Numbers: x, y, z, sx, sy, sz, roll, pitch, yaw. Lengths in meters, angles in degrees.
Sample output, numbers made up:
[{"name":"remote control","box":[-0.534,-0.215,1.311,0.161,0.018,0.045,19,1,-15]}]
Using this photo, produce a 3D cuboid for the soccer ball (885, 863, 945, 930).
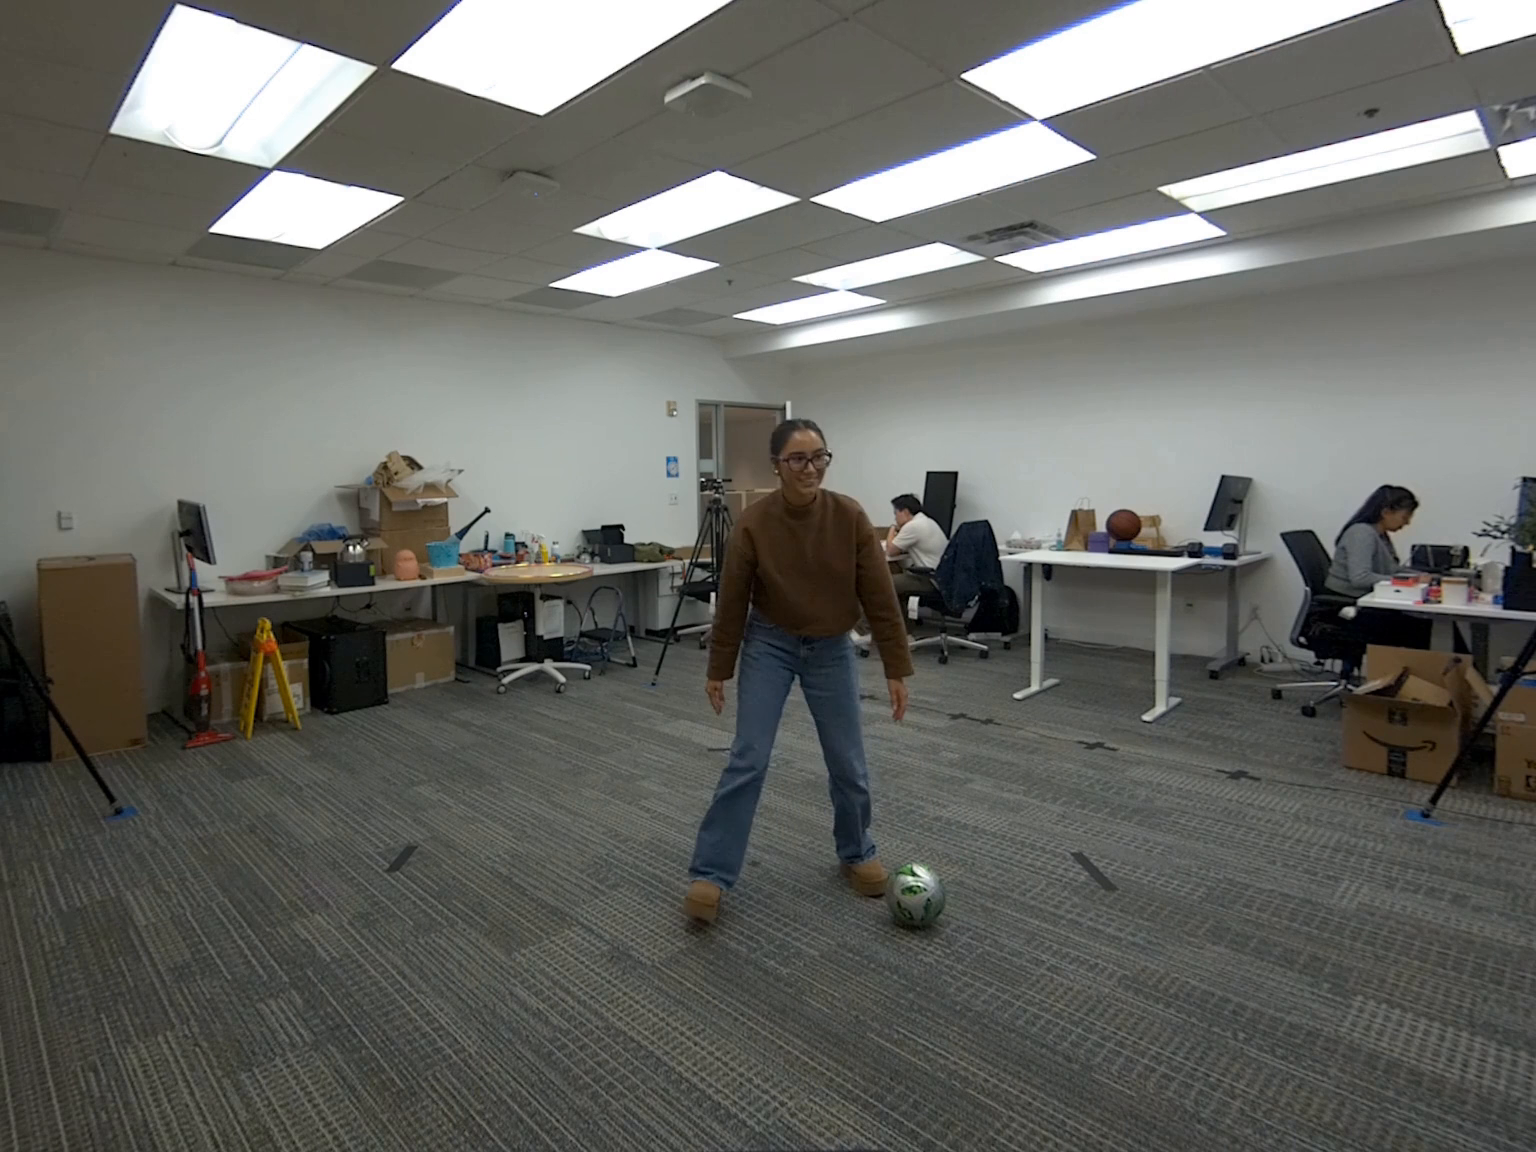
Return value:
[{"name":"soccer ball","box":[0.458,0.988,2.670,0.187,0.187,0.188,-1,5,-2]}]
